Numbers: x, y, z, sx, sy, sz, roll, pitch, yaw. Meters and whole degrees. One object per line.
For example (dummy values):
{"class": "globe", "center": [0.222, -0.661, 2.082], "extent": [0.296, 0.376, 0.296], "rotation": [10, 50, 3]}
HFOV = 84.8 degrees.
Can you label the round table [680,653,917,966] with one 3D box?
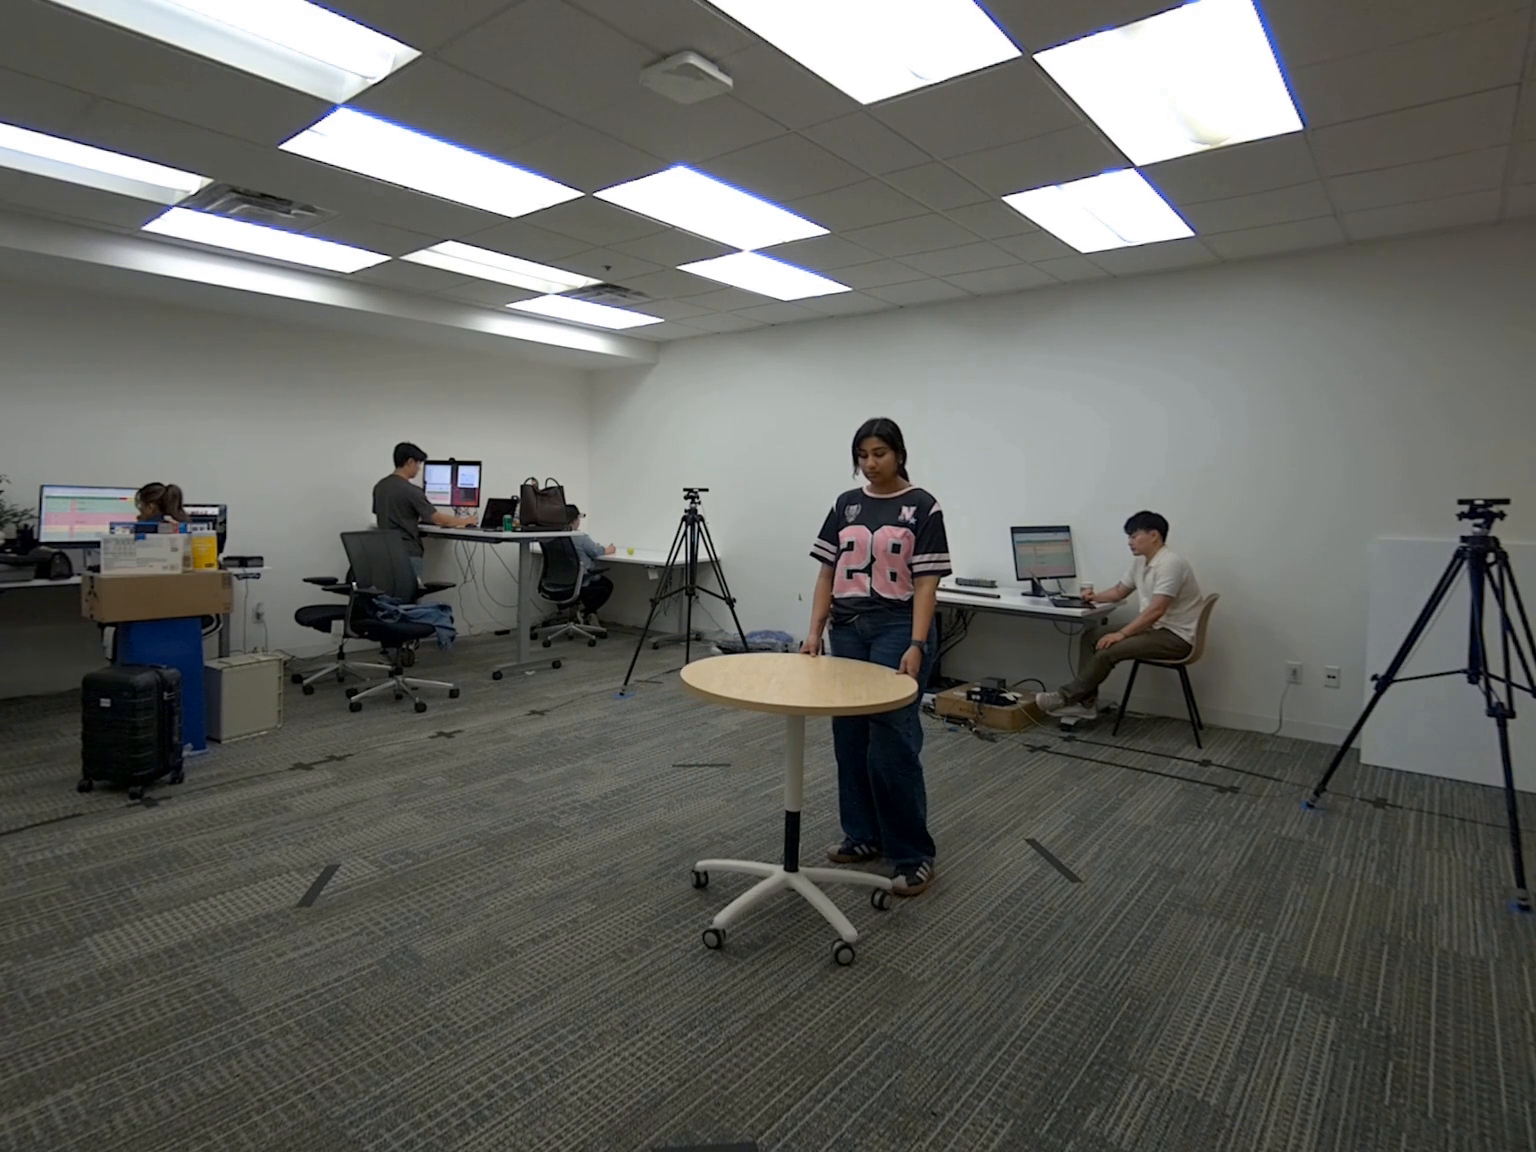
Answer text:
{"class": "round table", "center": [0.068, 0.715, 2.795], "extent": [0.763, 0.791, 0.768], "rotation": [2, 4, -2]}
